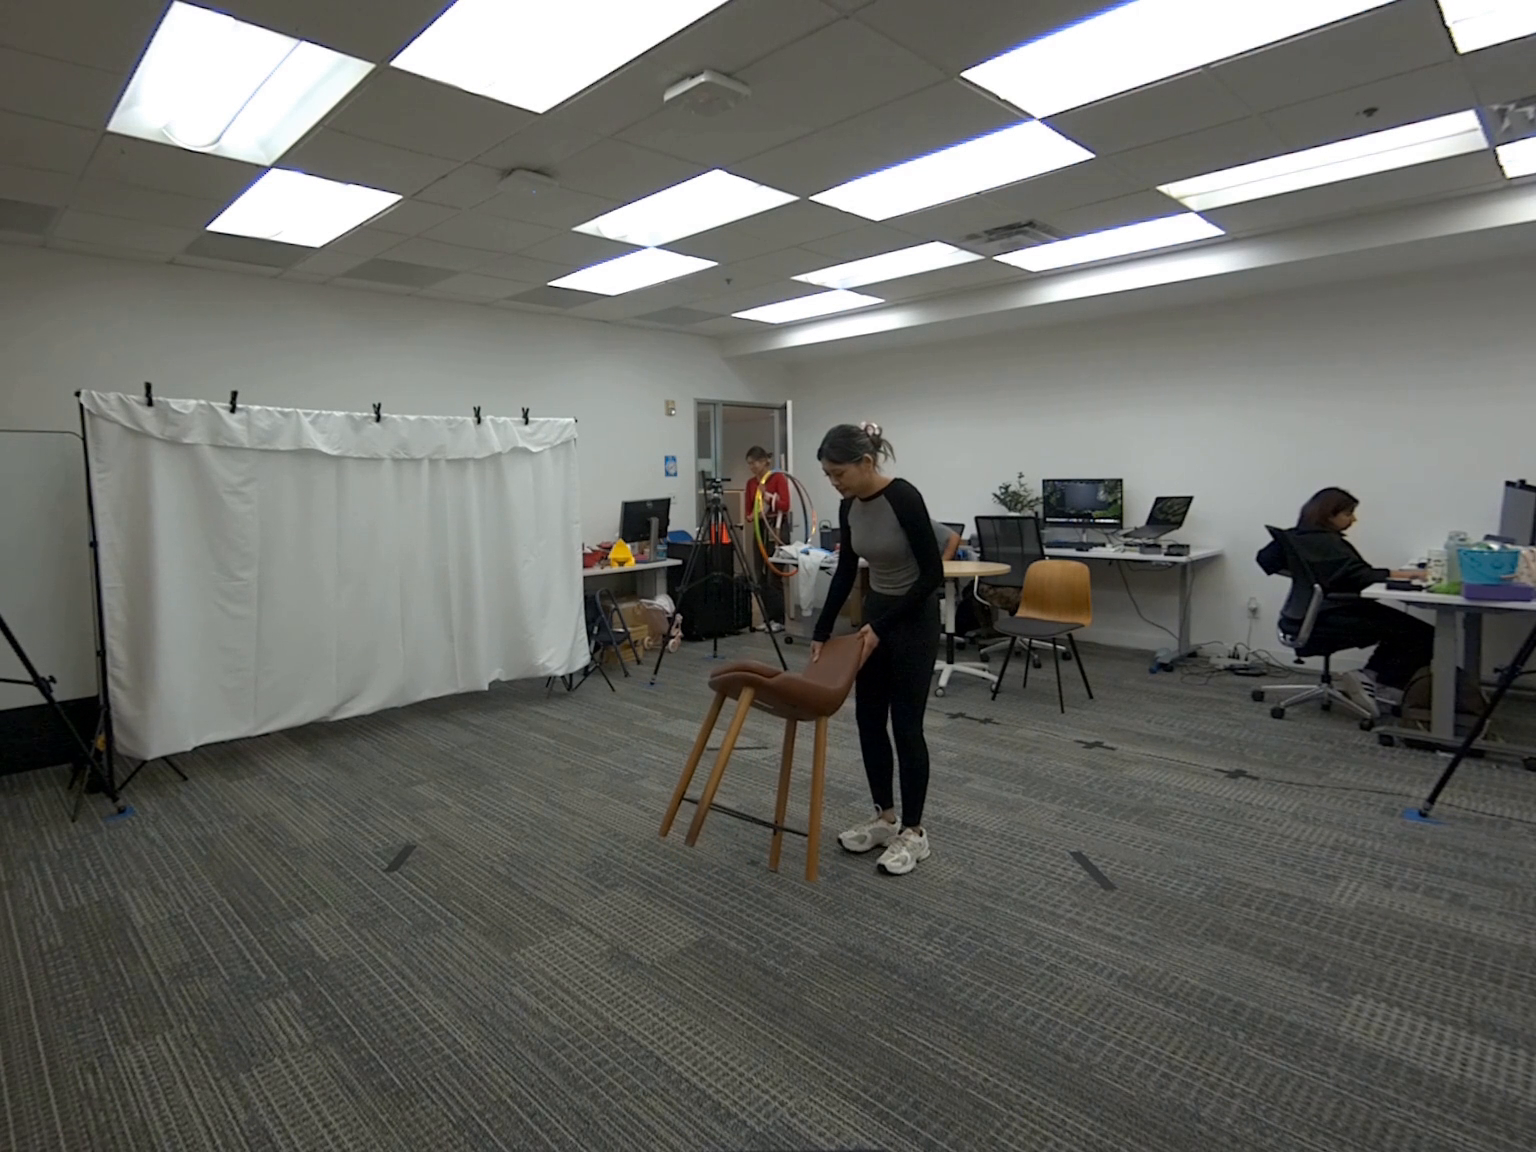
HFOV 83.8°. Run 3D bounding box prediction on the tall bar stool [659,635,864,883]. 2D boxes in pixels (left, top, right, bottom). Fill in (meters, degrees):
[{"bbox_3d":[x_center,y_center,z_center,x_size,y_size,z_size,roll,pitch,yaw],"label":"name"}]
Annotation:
[{"bbox_3d":[0.012,0.542,2.976,0.461,0.898,0.459,22,-19,-13],"label":"tall bar stool"}]
